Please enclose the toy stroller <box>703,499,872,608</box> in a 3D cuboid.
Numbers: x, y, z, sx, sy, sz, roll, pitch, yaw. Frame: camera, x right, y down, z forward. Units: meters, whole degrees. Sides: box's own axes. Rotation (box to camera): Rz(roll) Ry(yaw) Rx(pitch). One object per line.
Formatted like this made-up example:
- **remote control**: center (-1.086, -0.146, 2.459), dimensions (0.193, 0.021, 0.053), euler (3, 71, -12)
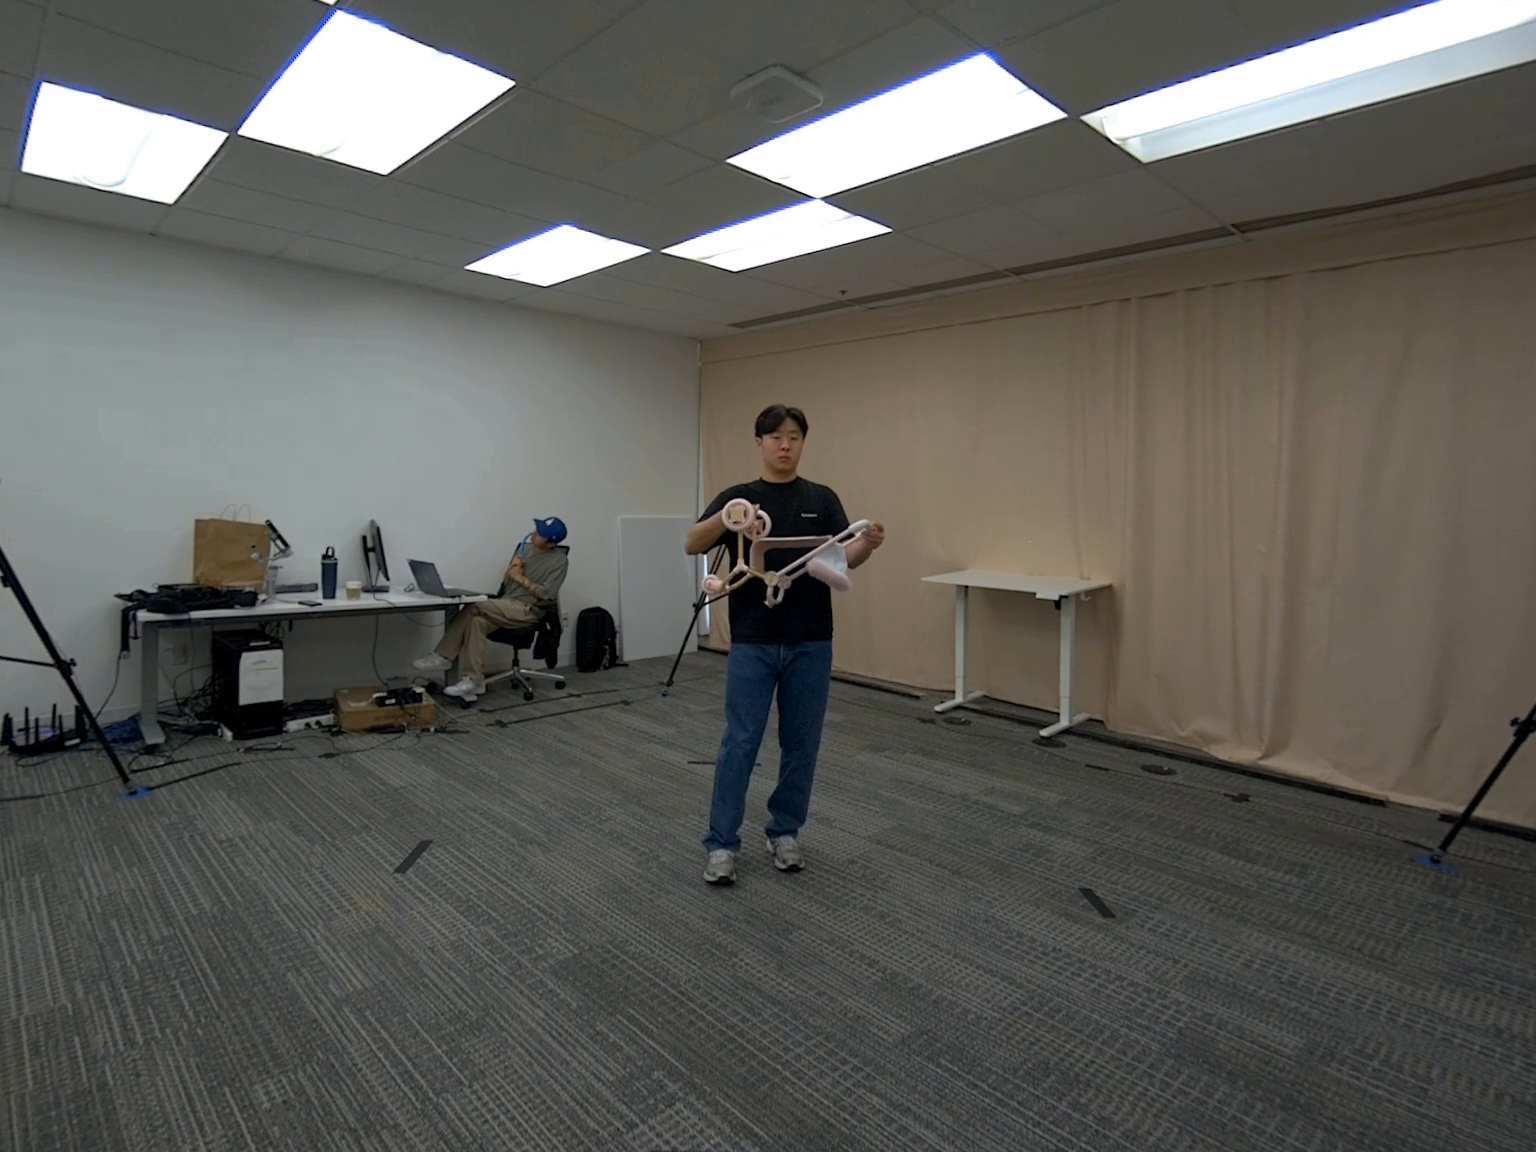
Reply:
- **toy stroller**: center (0.041, -0.055, 2.828), dimensions (0.542, 0.343, 0.277), euler (12, -7, 13)
